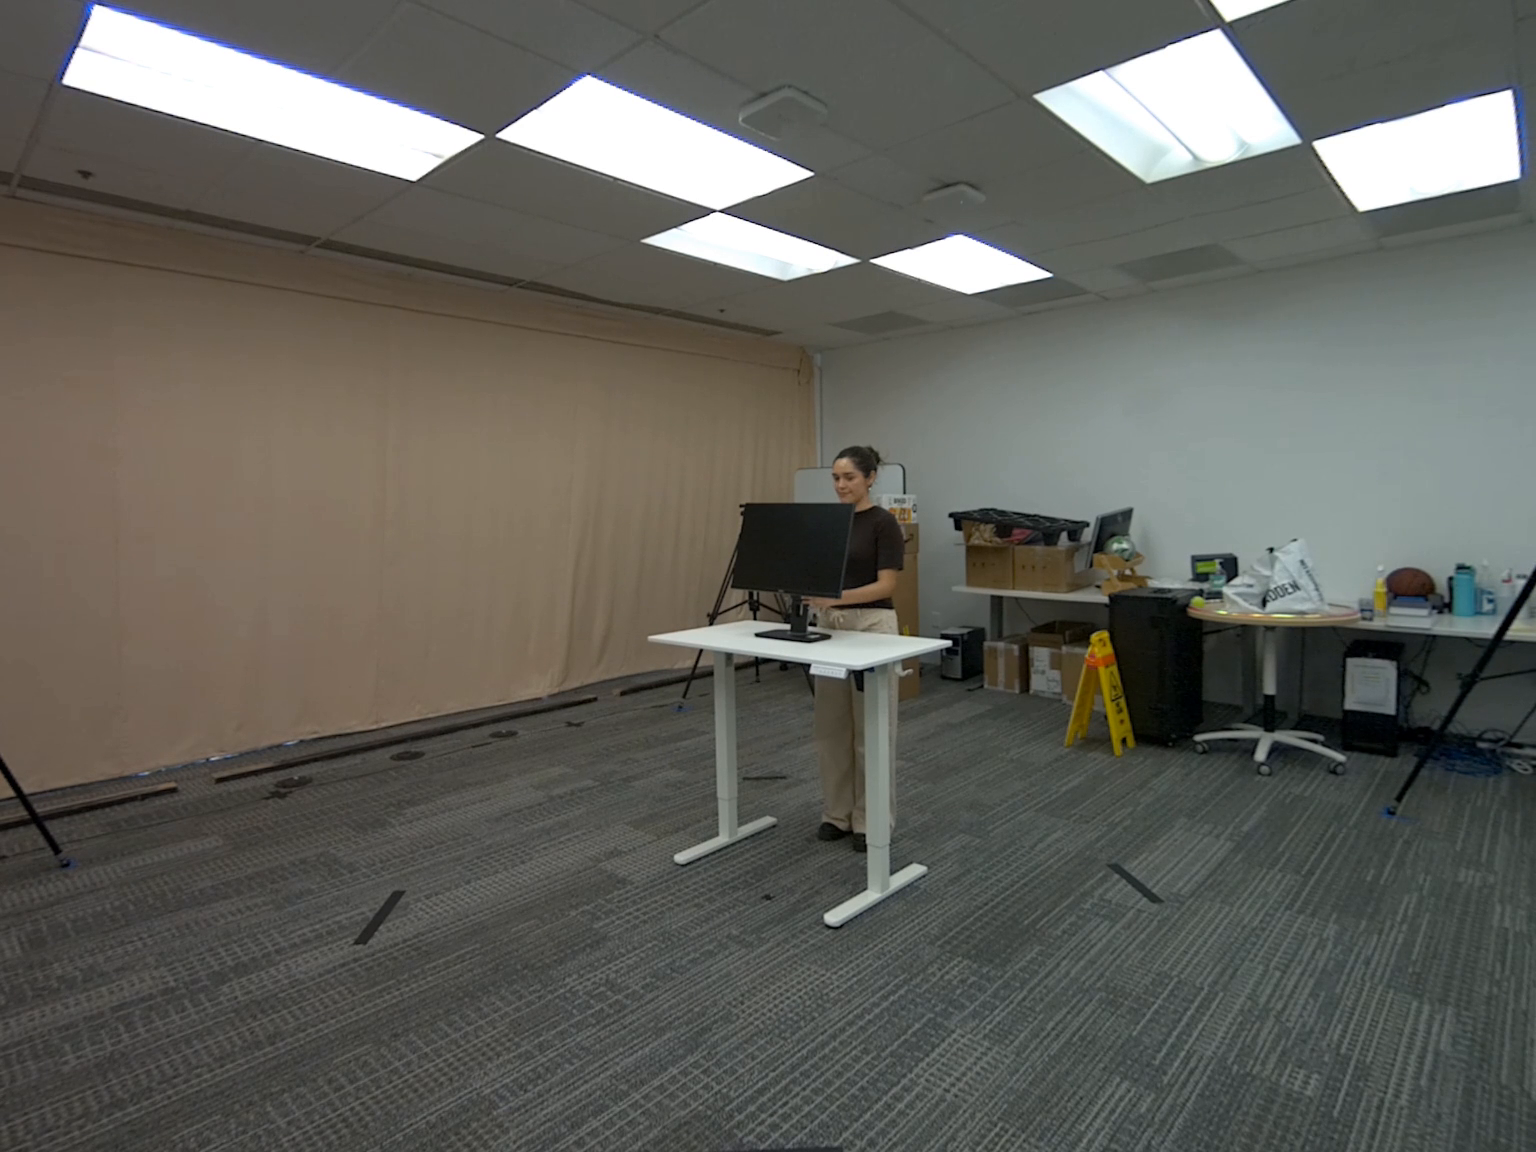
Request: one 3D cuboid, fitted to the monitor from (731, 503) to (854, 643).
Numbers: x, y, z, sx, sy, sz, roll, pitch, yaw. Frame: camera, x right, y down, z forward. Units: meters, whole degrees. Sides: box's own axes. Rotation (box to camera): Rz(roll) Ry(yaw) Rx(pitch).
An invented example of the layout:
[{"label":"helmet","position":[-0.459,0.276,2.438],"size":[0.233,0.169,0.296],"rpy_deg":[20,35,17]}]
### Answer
[{"label":"monitor","position":[0.104,-0.018,3.214],"size":[0.557,0.522,0.181],"rpy_deg":[3,4,42]}]
